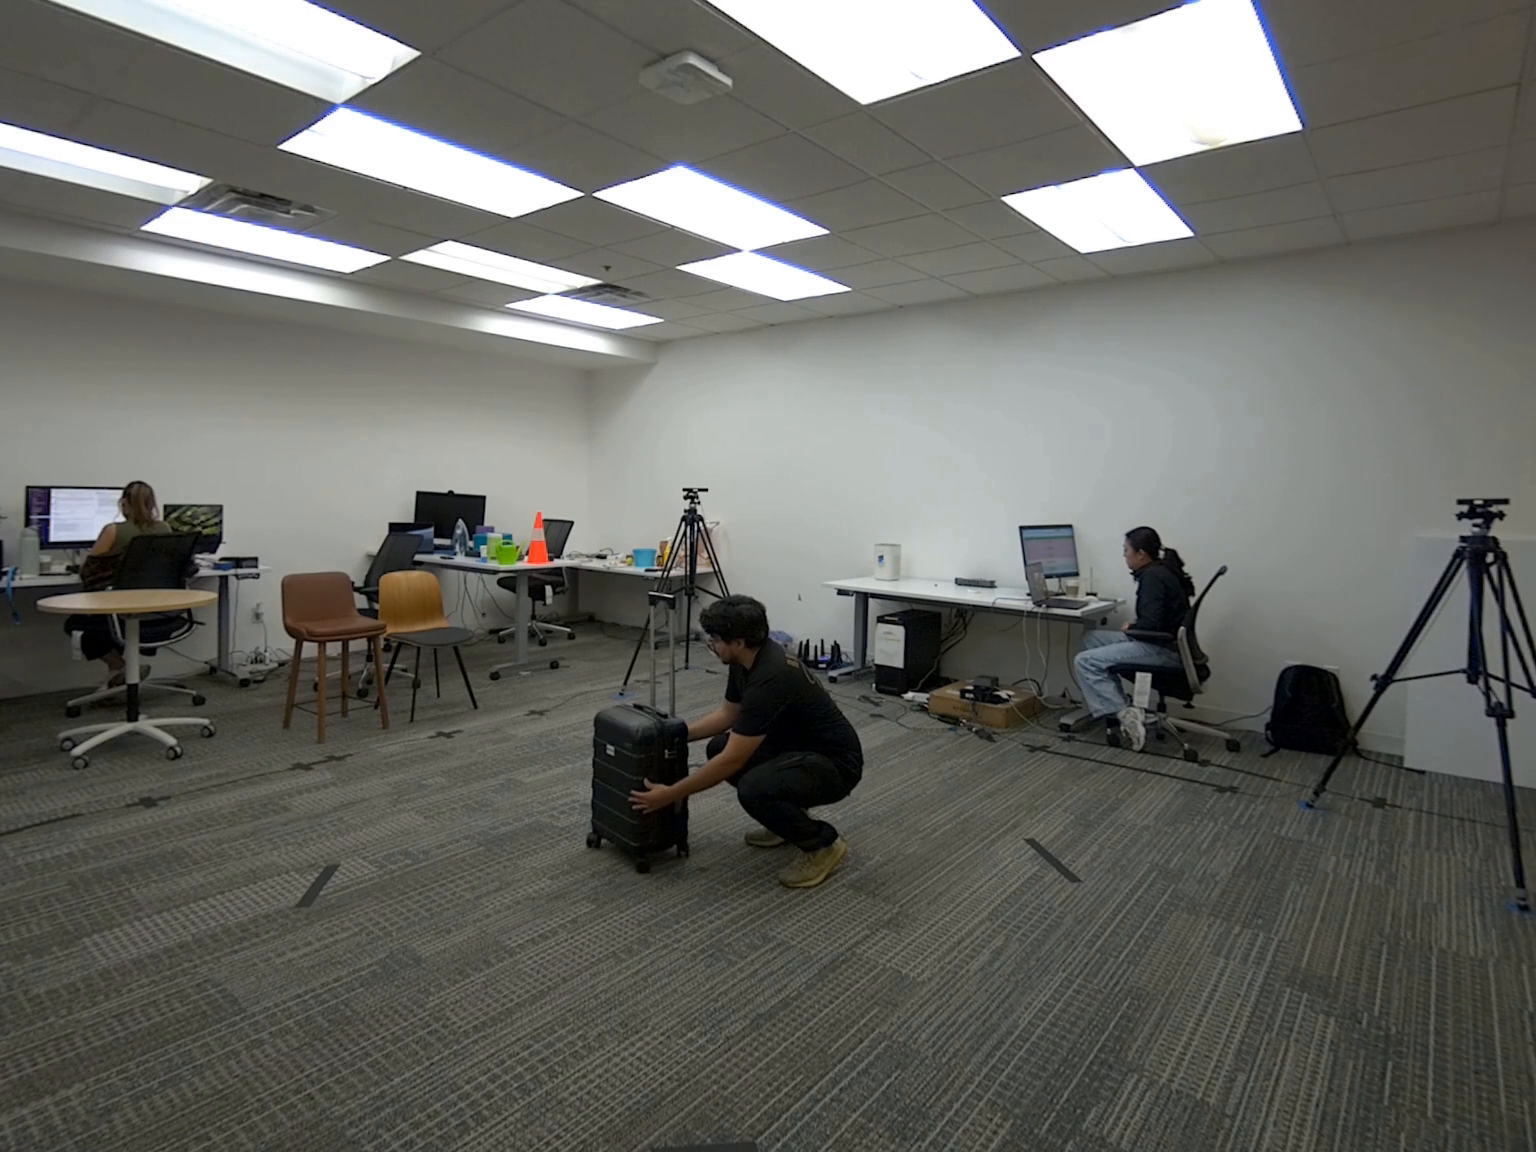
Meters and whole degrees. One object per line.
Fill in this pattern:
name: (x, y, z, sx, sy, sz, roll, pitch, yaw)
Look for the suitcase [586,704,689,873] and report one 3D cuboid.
suitcase: (-0.503, 0.576, 3.236, 0.249, 0.976, 0.396, -2, 4, -39)
